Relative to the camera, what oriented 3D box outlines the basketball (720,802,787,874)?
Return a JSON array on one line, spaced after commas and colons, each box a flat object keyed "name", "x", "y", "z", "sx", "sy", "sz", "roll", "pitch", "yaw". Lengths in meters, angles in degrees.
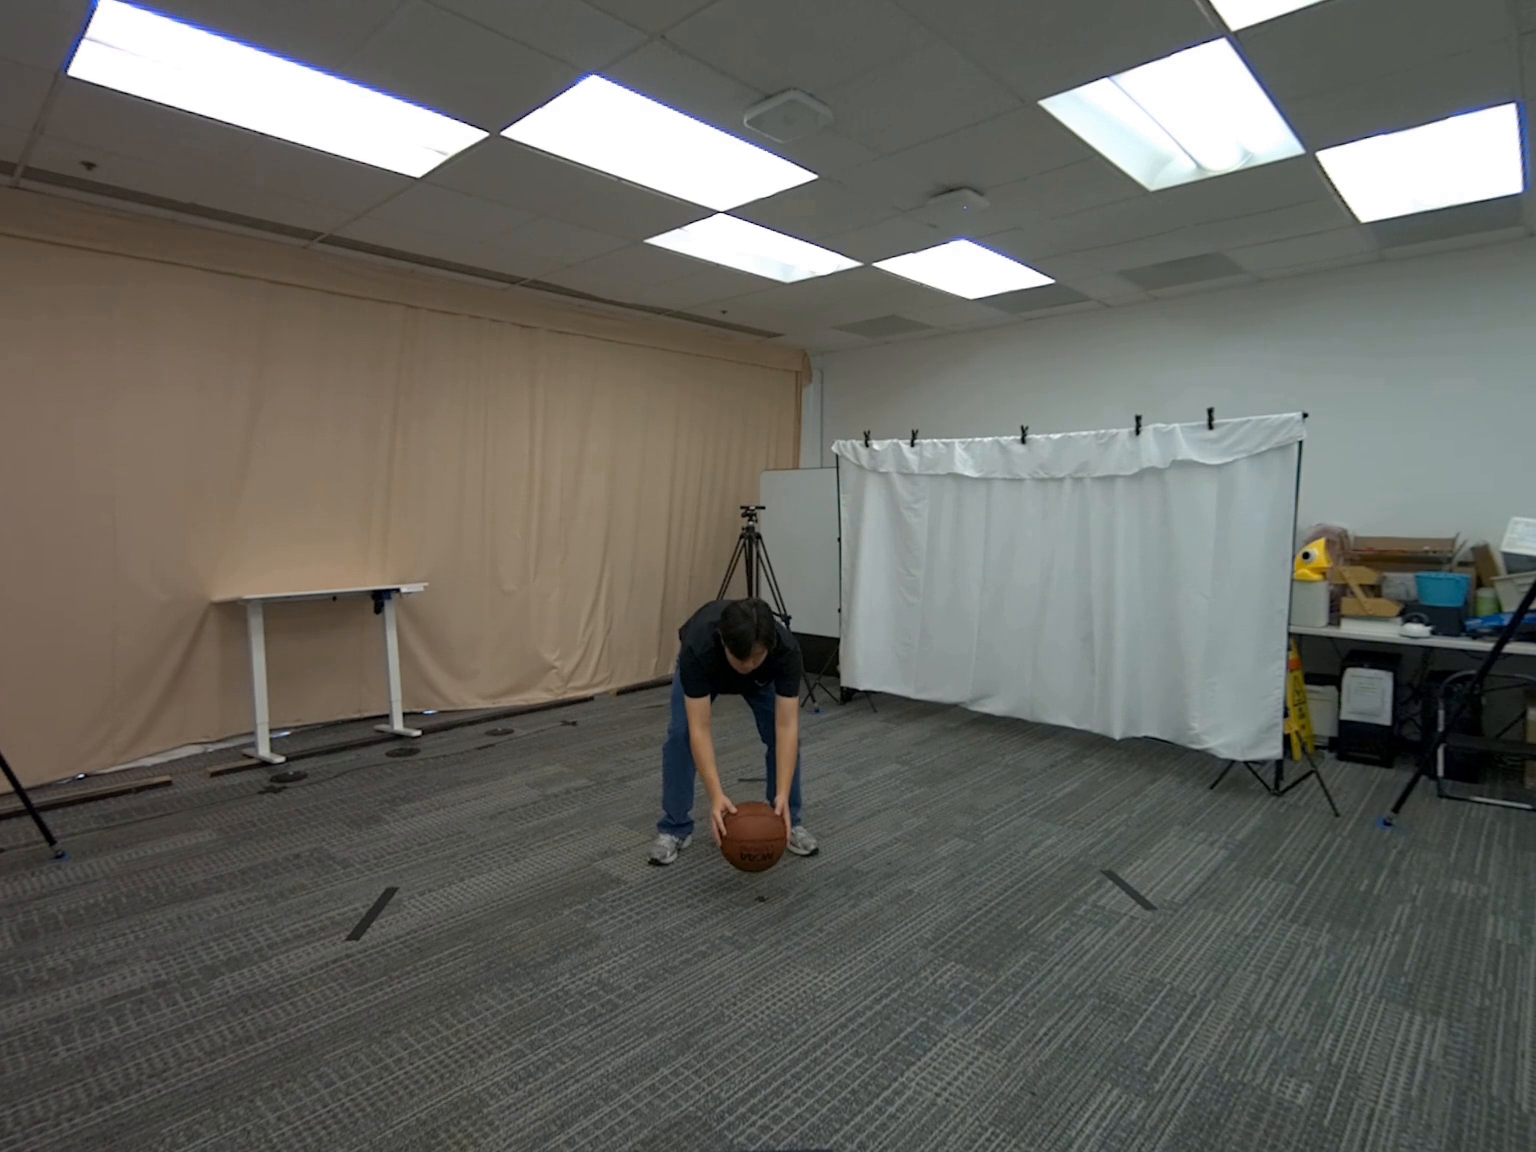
[{"name": "basketball", "x": -0.050, "y": 0.897, "z": 2.936, "sx": 0.236, "sy": 0.235, "sz": 0.237, "roll": 0, "pitch": 4, "yaw": -2}]
